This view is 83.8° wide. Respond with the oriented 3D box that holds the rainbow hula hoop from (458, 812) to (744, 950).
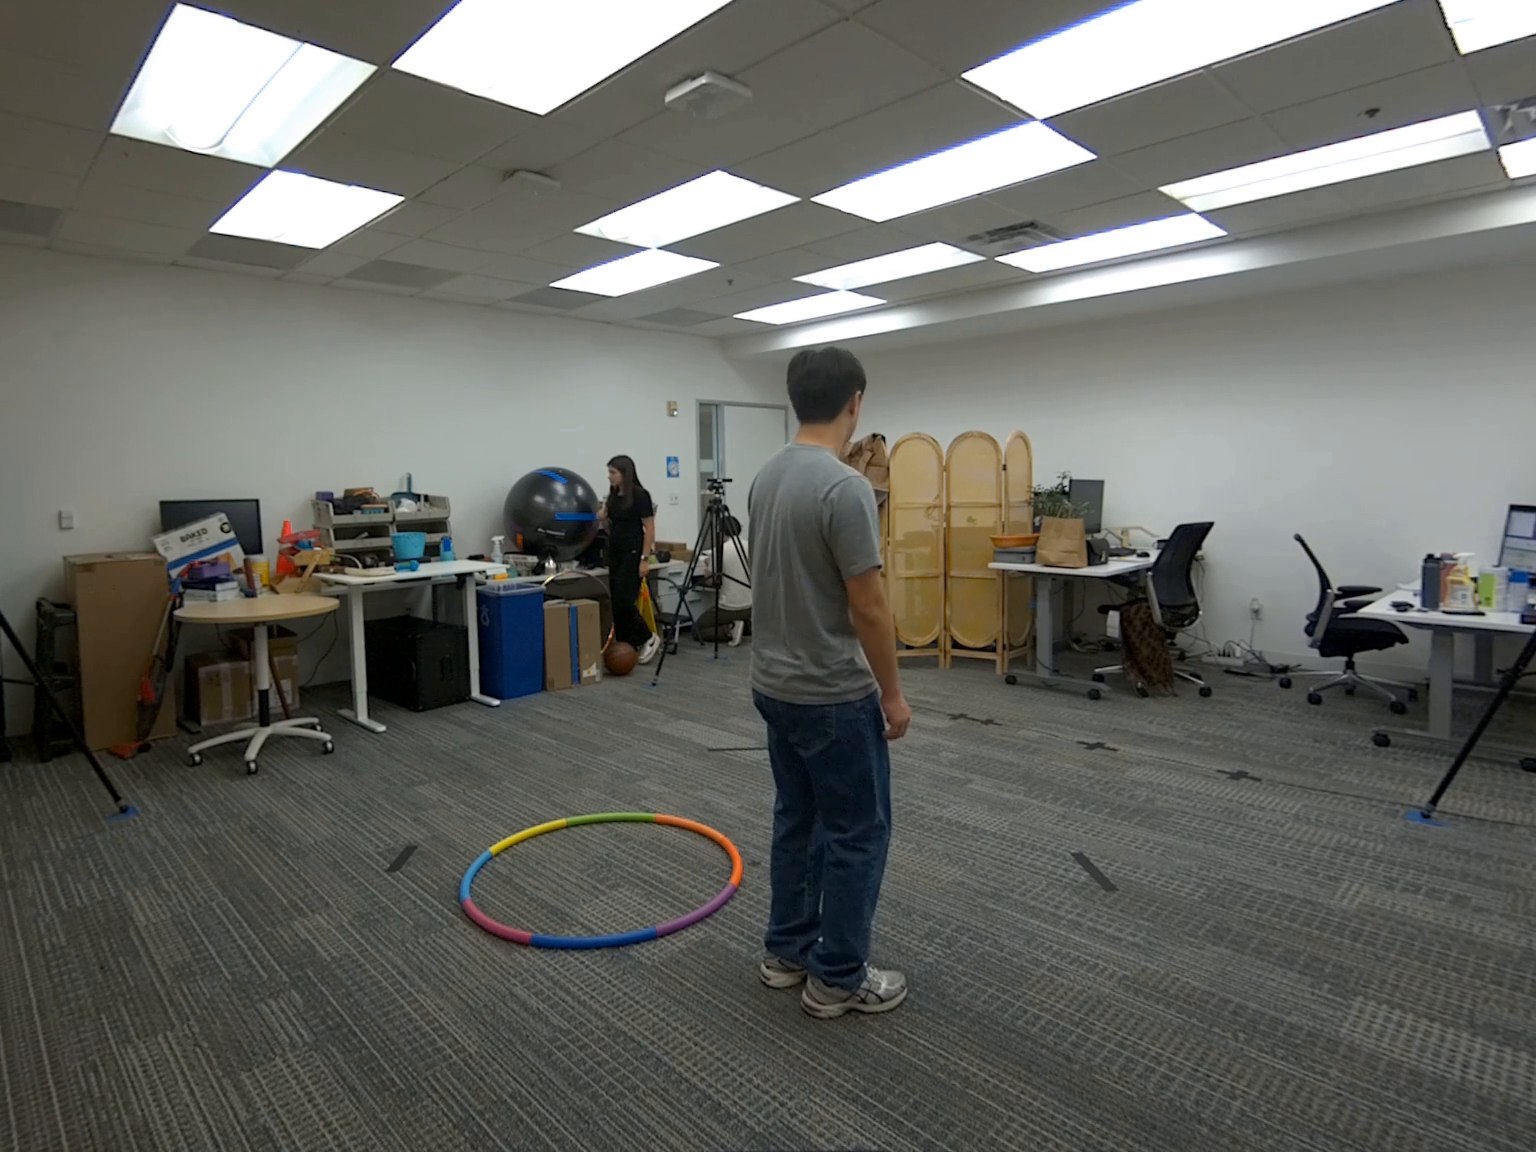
[{"bbox_3d":[-0.578,1.031,3.041,0.978,0.035,0.985,-1,7,-2],"label":"rainbow hula hoop"}]
